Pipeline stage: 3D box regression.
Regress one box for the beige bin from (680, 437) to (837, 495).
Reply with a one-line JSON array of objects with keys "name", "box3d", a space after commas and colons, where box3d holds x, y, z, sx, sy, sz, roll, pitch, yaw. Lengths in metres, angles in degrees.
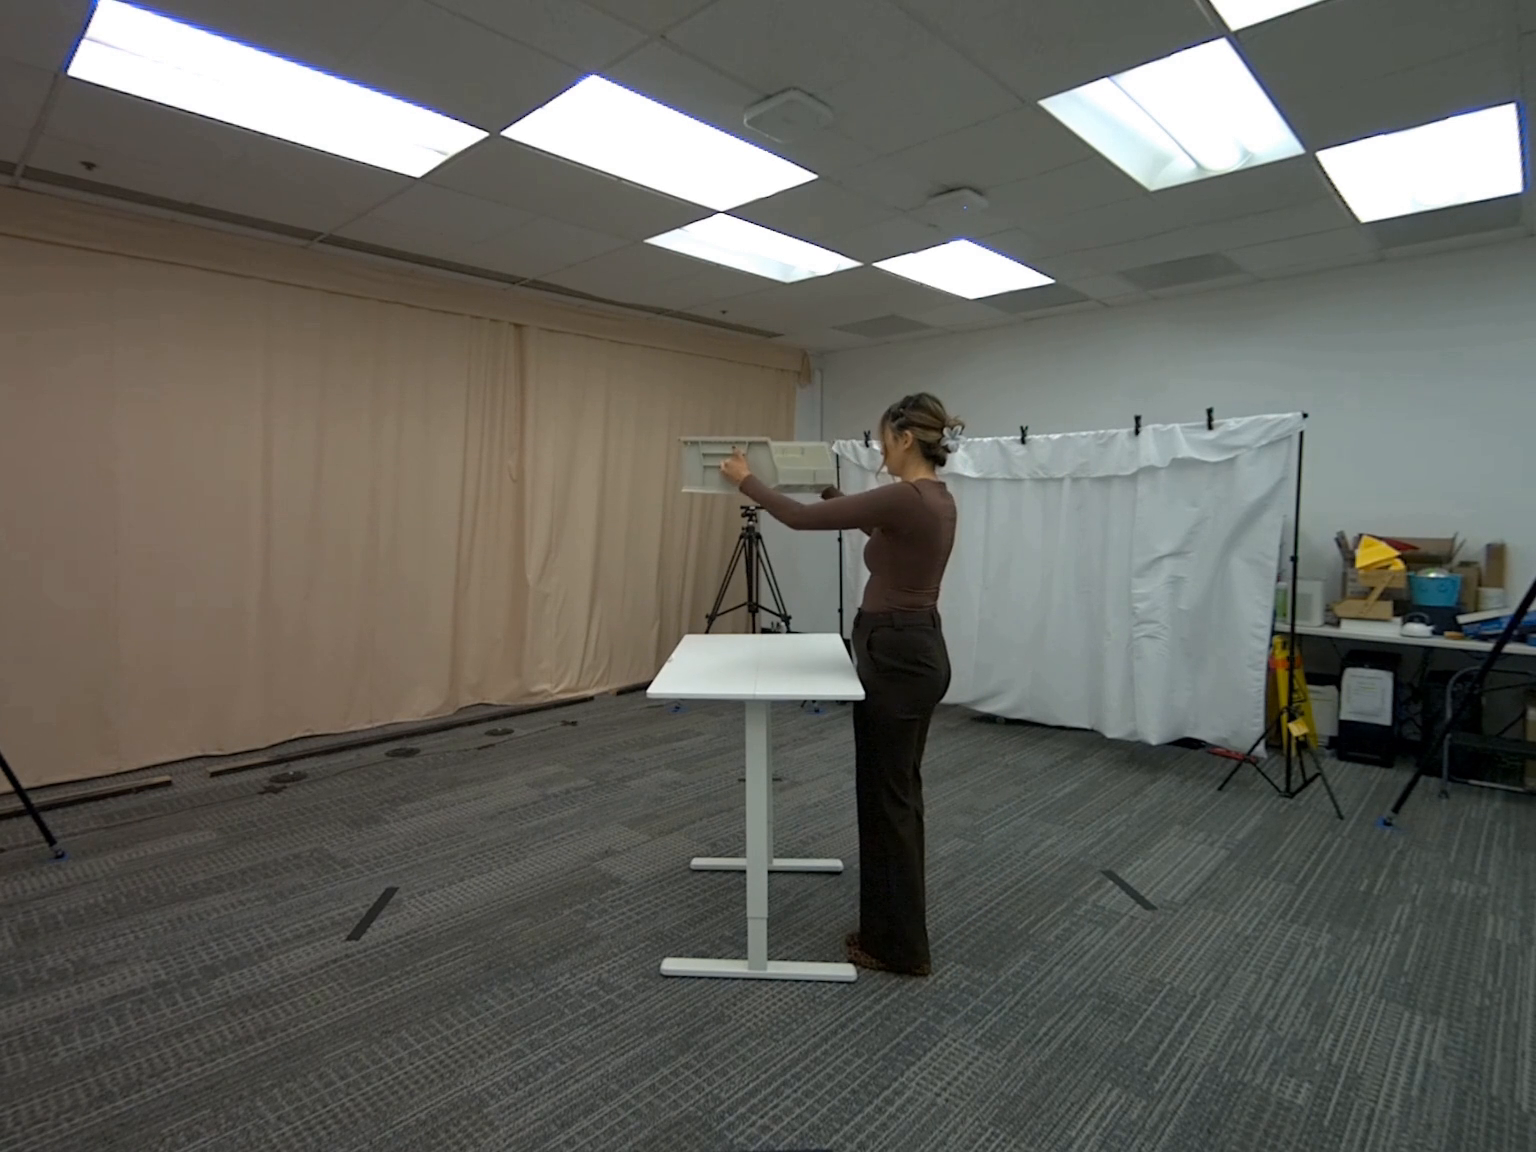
[{"name": "beige bin", "box3d": [-0.025, -0.365, 2.825, 0.389, 0.188, 0.411, 5, 9, 31]}]
